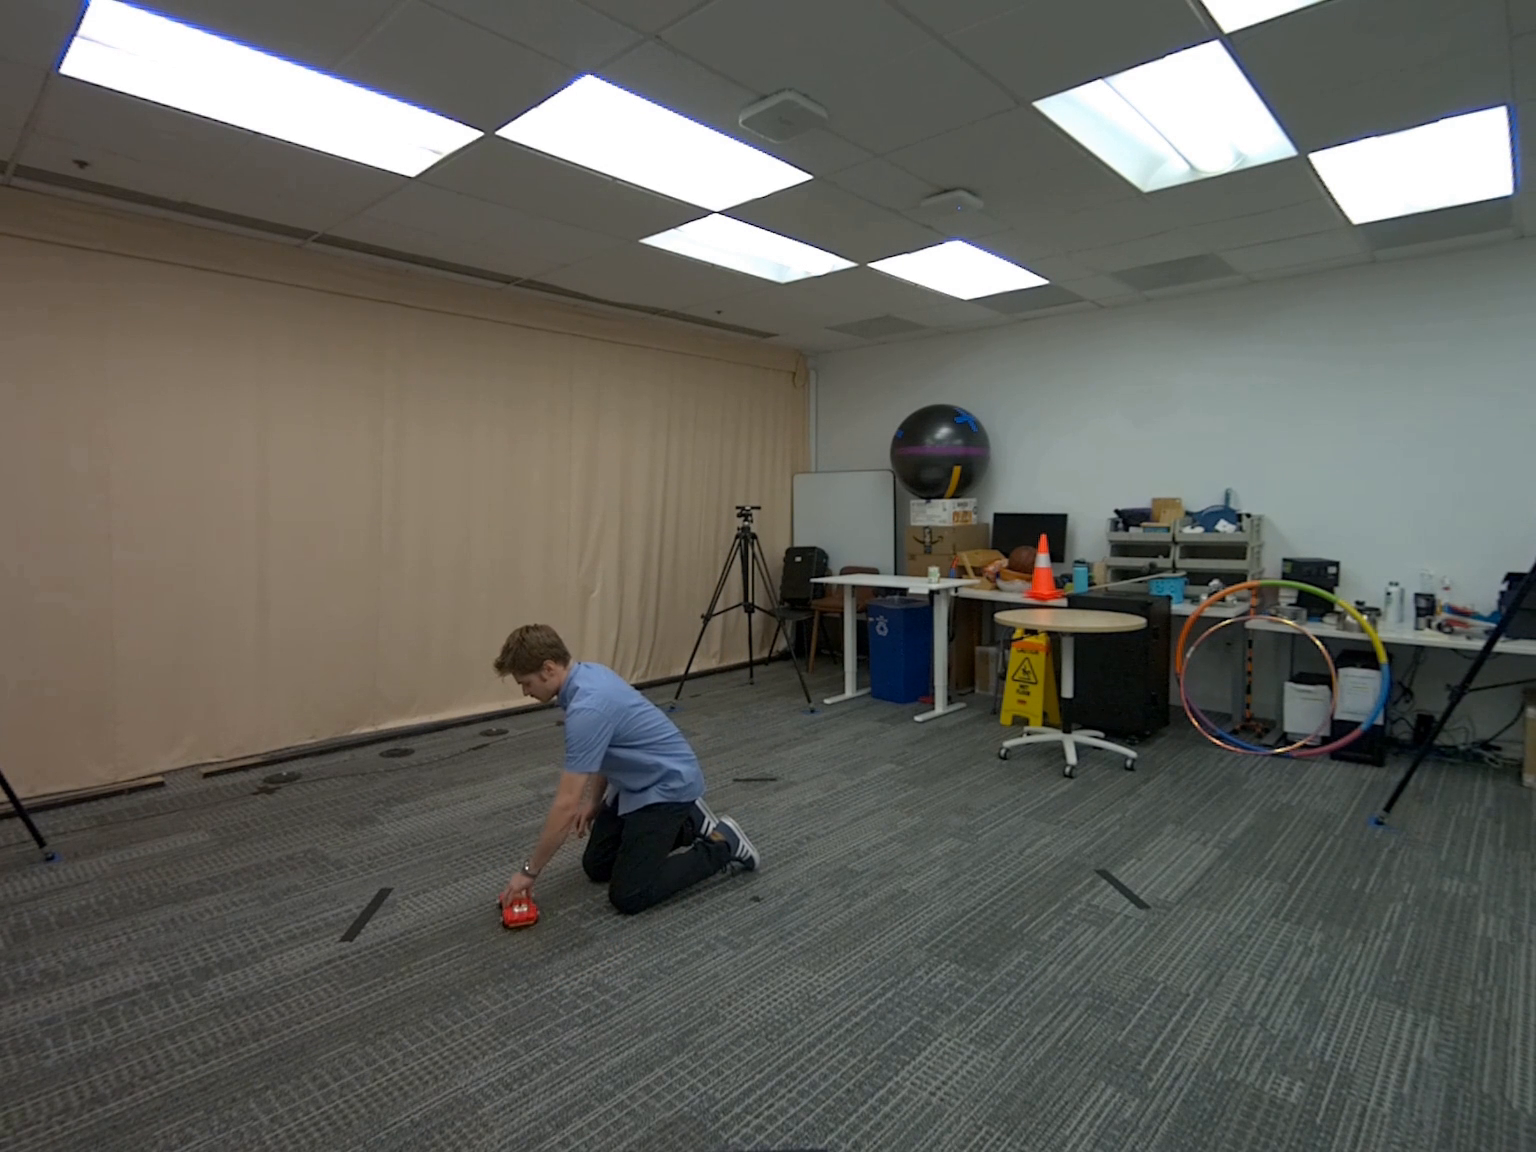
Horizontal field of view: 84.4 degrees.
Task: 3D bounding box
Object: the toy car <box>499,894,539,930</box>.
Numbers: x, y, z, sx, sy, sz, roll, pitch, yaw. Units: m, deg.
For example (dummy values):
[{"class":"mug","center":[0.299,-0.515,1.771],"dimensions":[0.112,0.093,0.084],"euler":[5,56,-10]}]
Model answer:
[{"class":"toy car","center":[-0.852,1.134,2.855],"dimensions":[0.127,0.083,0.259],"euler":[-2,-7,-23]}]
